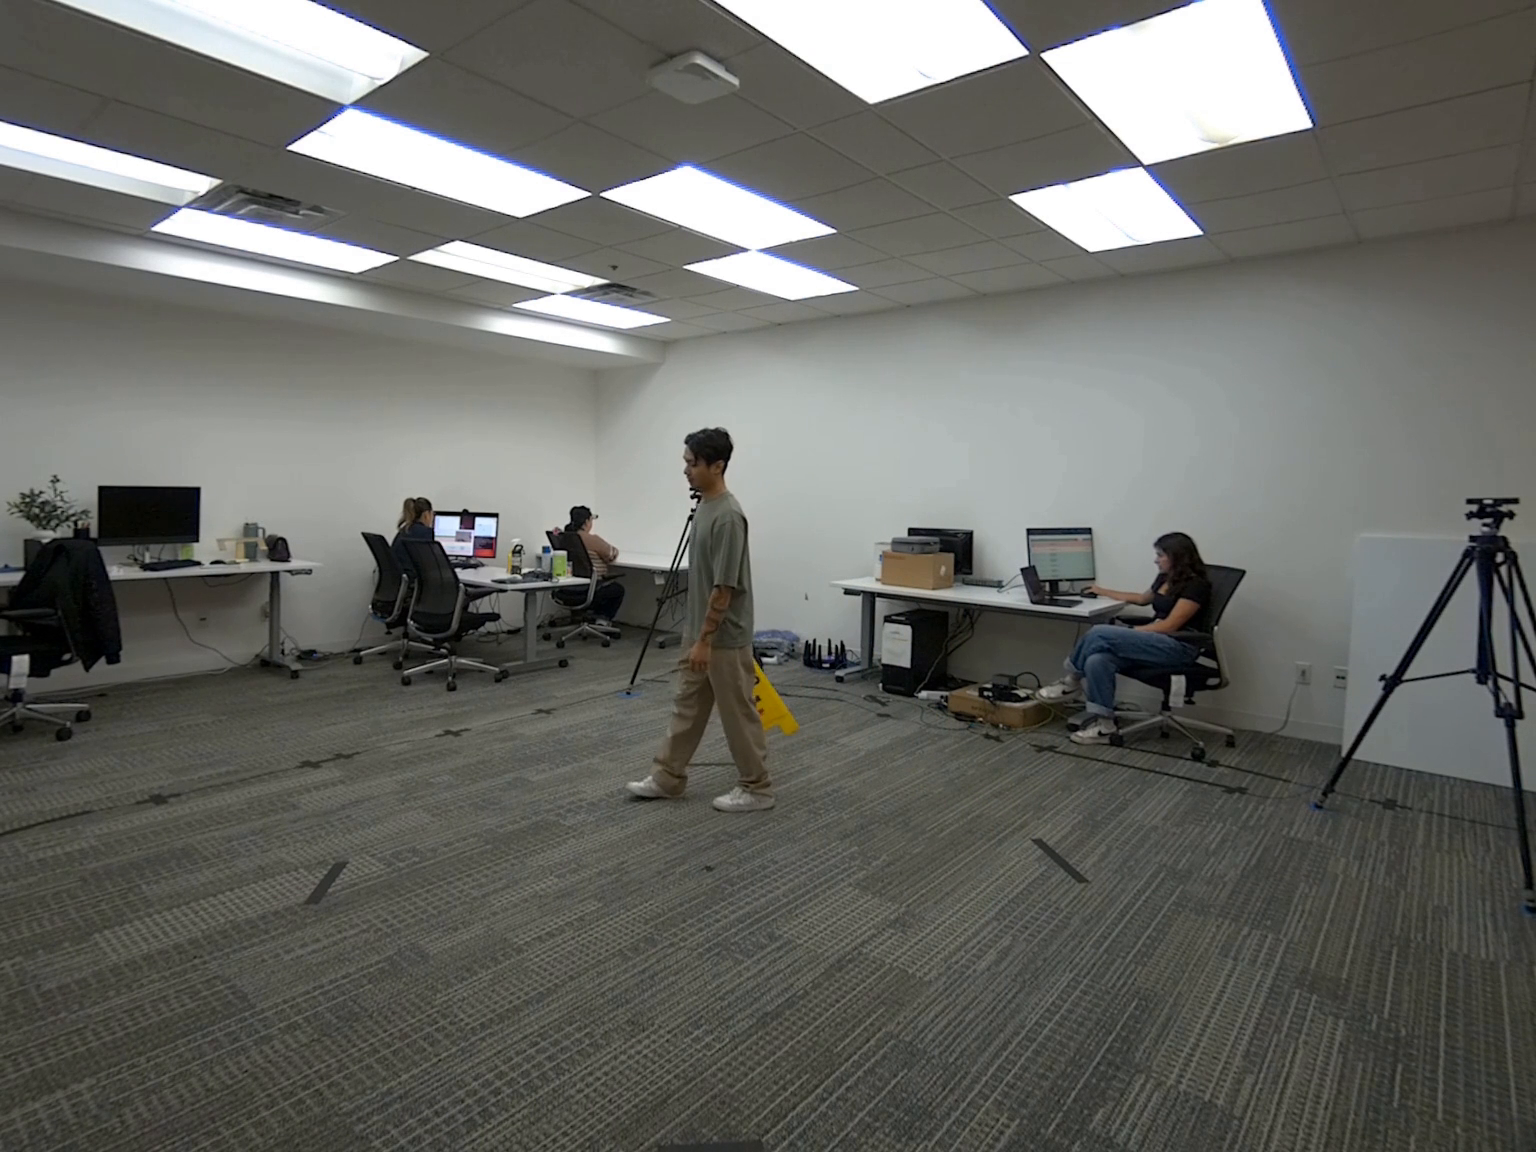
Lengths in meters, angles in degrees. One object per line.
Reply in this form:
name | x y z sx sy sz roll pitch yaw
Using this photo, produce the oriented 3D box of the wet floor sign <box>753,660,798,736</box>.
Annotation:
wet floor sign | -0.178 0.496 4.062 0.281 0.639 0.294 -28 8 -9
